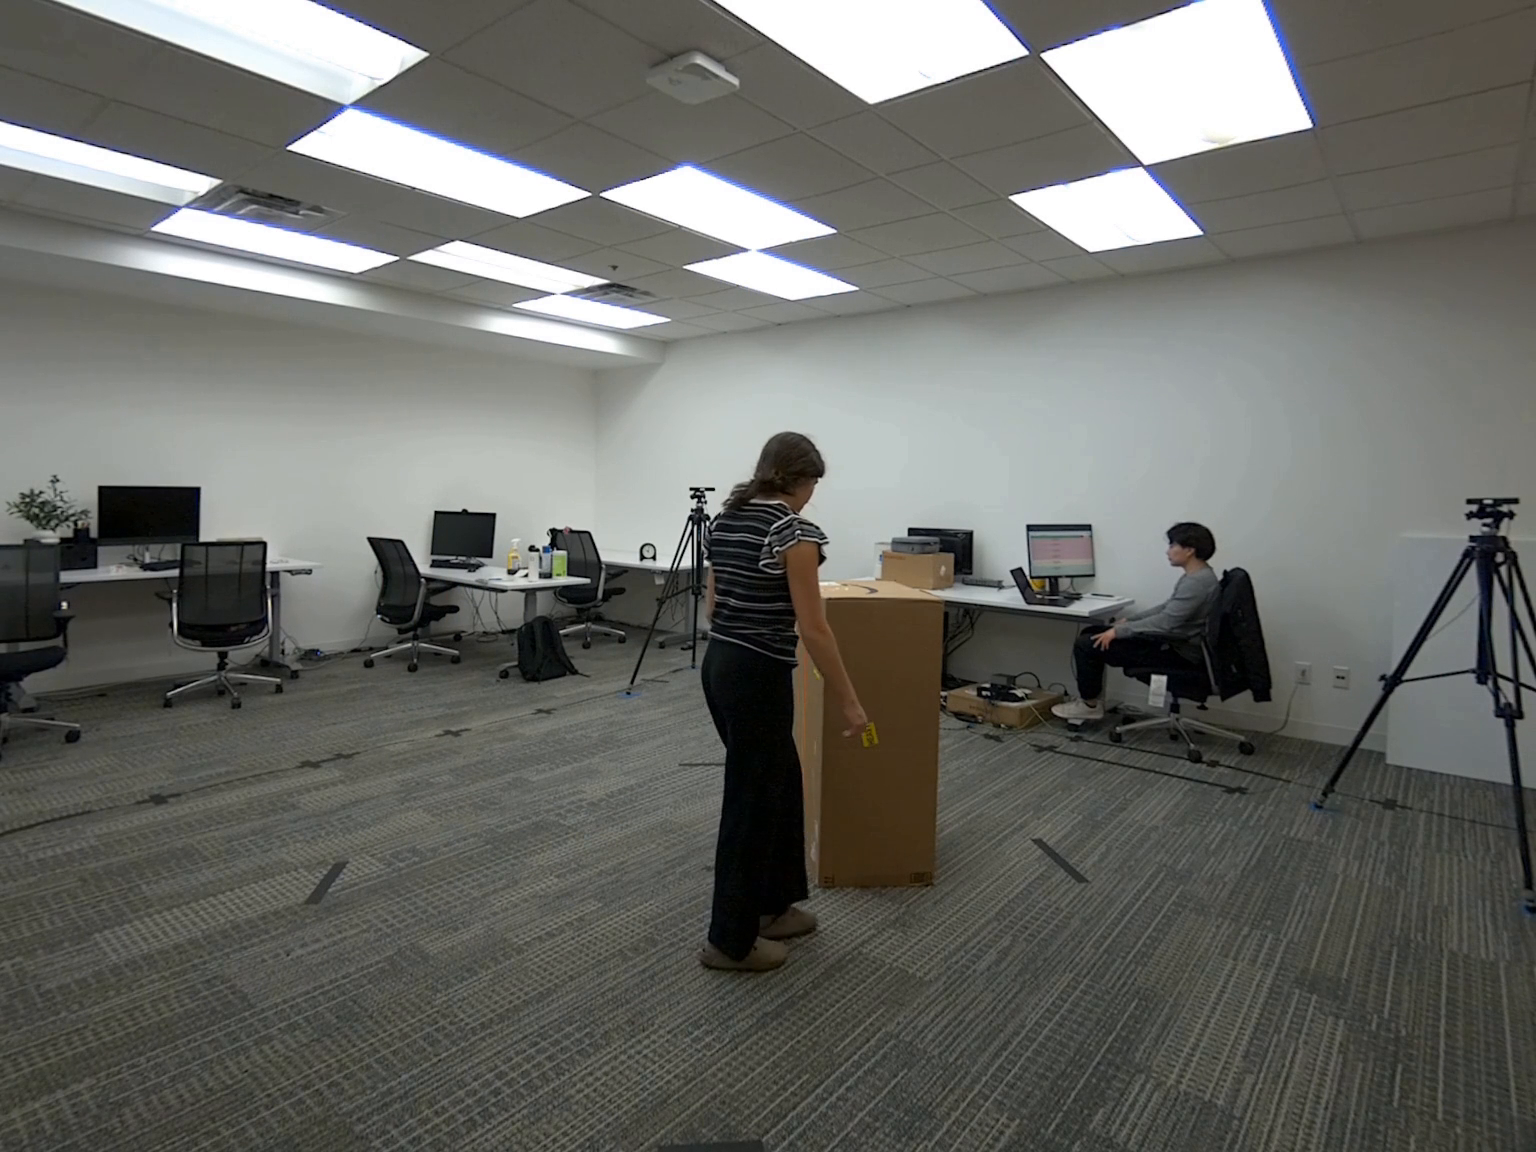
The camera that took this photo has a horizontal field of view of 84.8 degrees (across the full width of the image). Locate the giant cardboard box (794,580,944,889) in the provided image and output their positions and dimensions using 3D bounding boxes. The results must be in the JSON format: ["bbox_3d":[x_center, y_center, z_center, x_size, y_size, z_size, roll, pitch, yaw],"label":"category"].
[{"bbox_3d":[0.350,0.555,3.251,0.424,1.023,0.582,1,3,-6],"label":"giant cardboard box"}]
